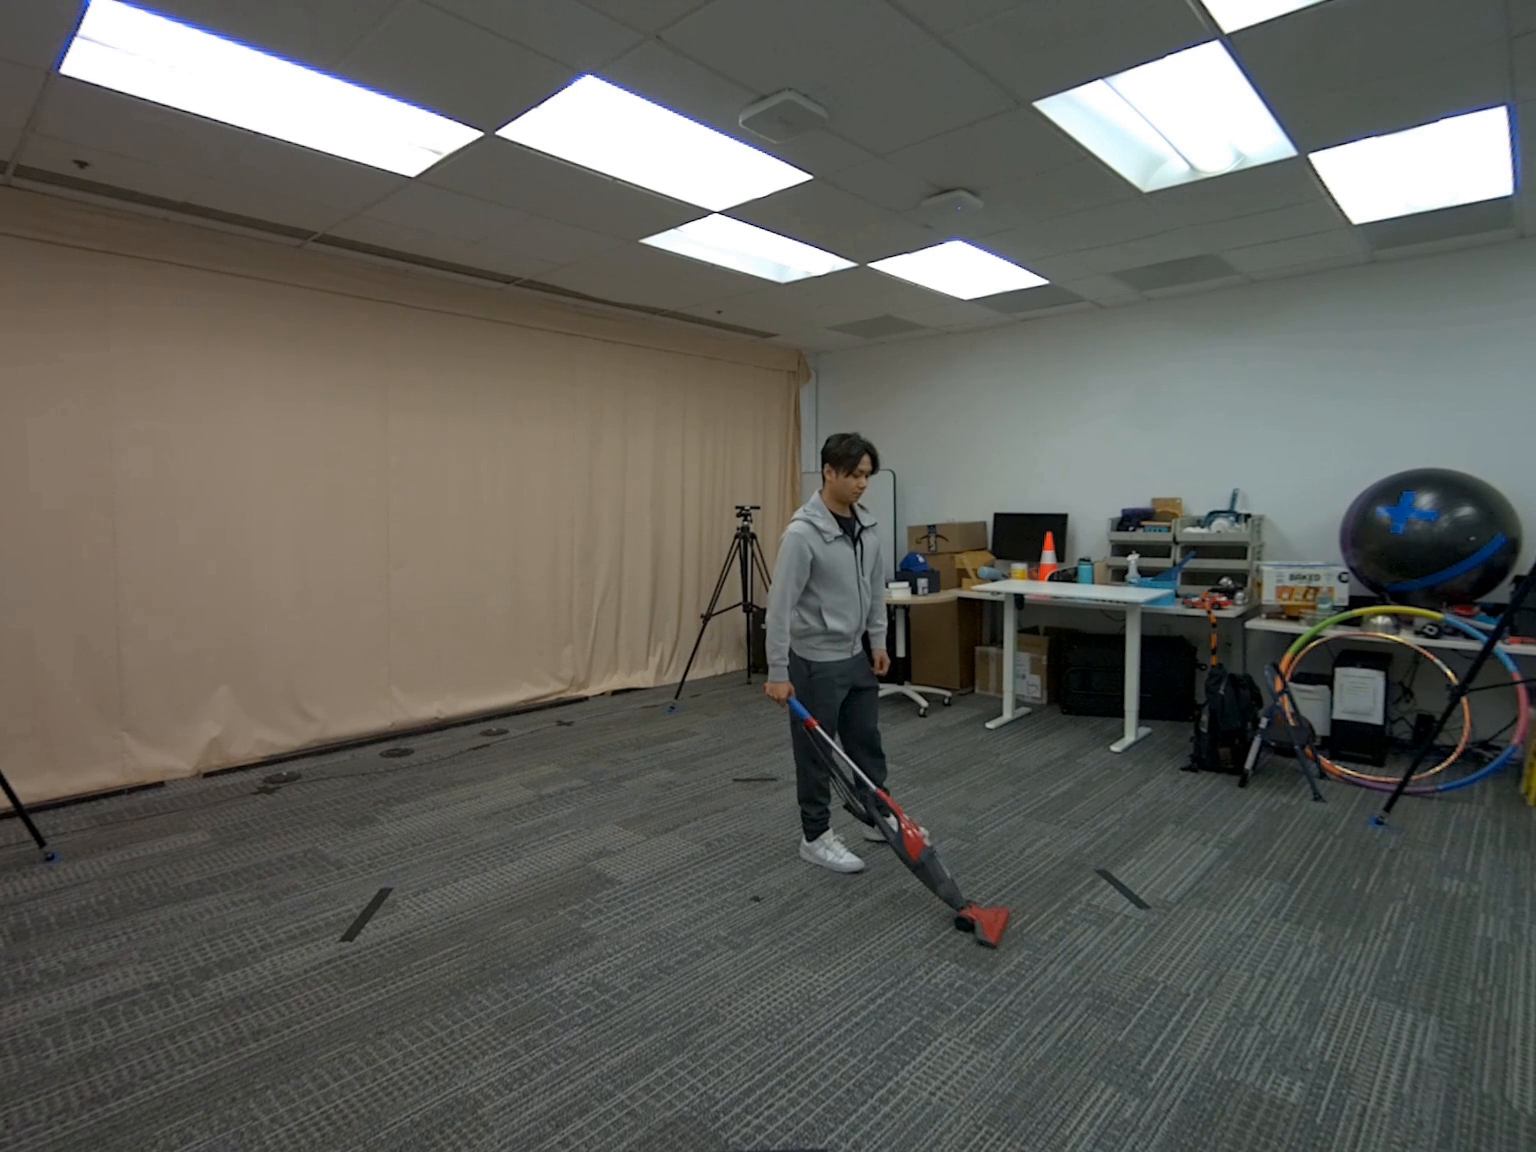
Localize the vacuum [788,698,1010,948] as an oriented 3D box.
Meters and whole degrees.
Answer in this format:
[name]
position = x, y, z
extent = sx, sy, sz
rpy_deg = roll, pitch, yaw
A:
[vacuum]
position = 0.375, 0.779, 2.959
extent = 1.074, 0.144, 0.246
rpy_deg = 46, 20, 20
